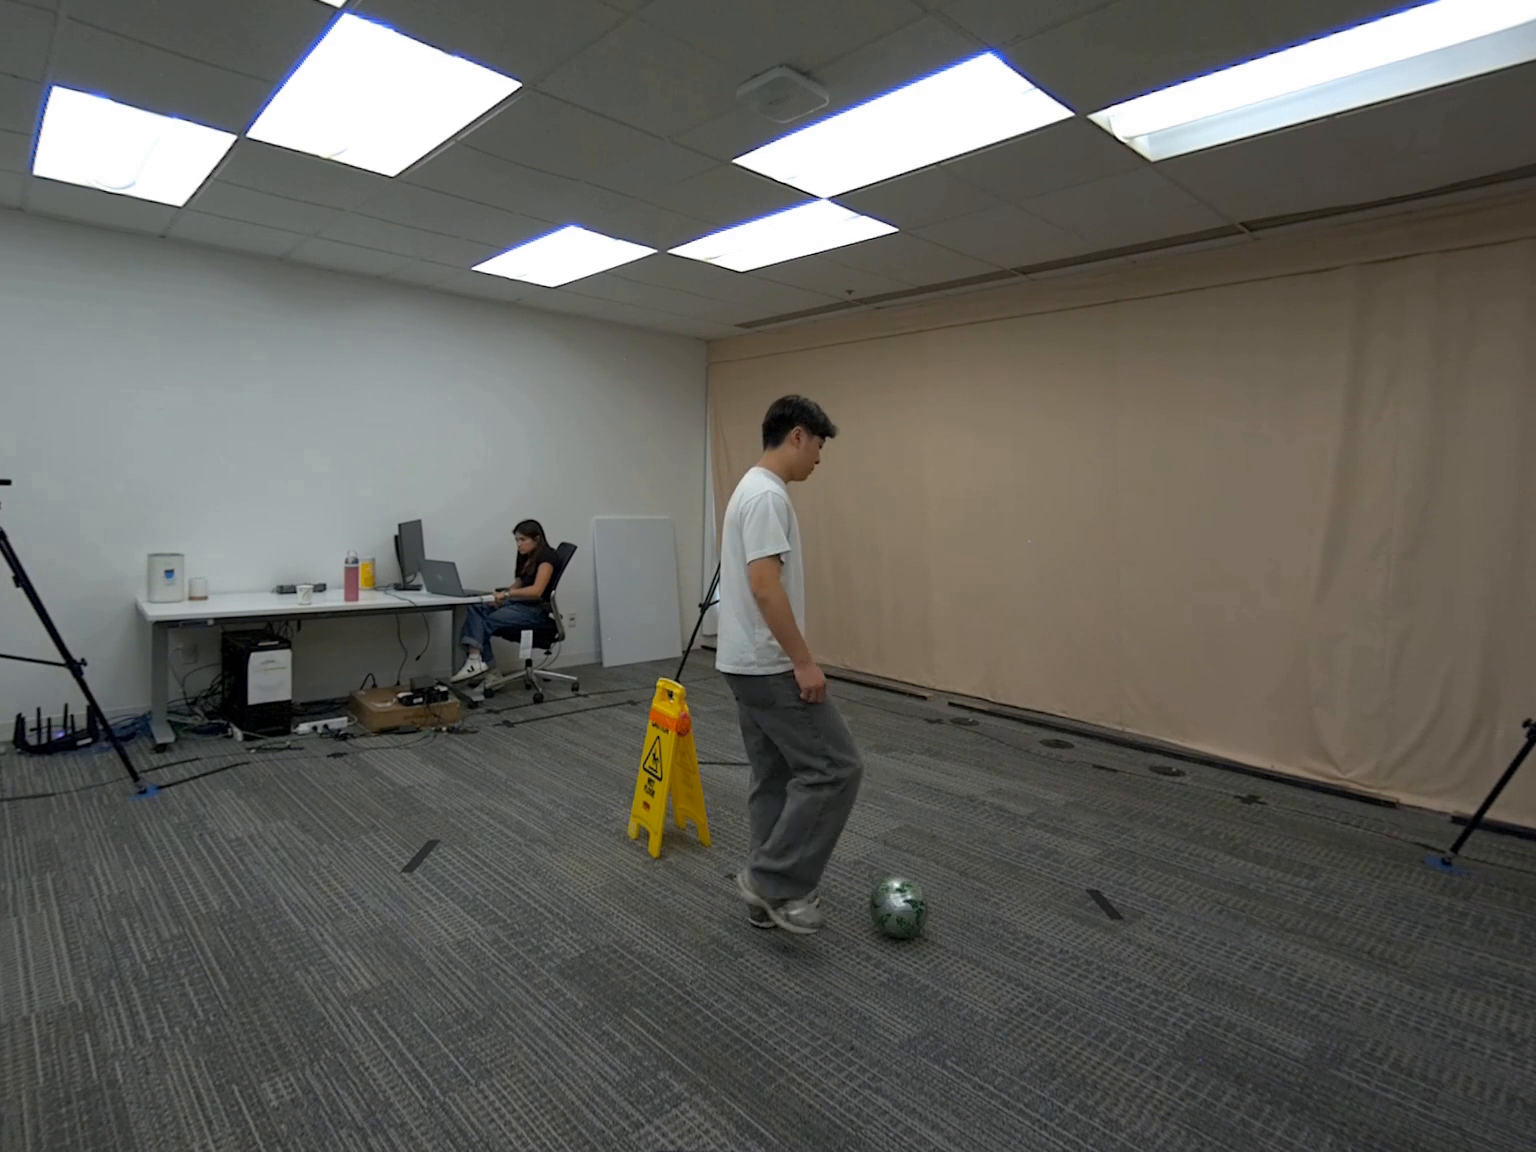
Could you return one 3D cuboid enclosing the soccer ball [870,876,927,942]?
[{"bbox_3d":[0.411,1.067,2.698,0.187,0.187,0.188,1,4,-1],"label":"soccer ball"}]
